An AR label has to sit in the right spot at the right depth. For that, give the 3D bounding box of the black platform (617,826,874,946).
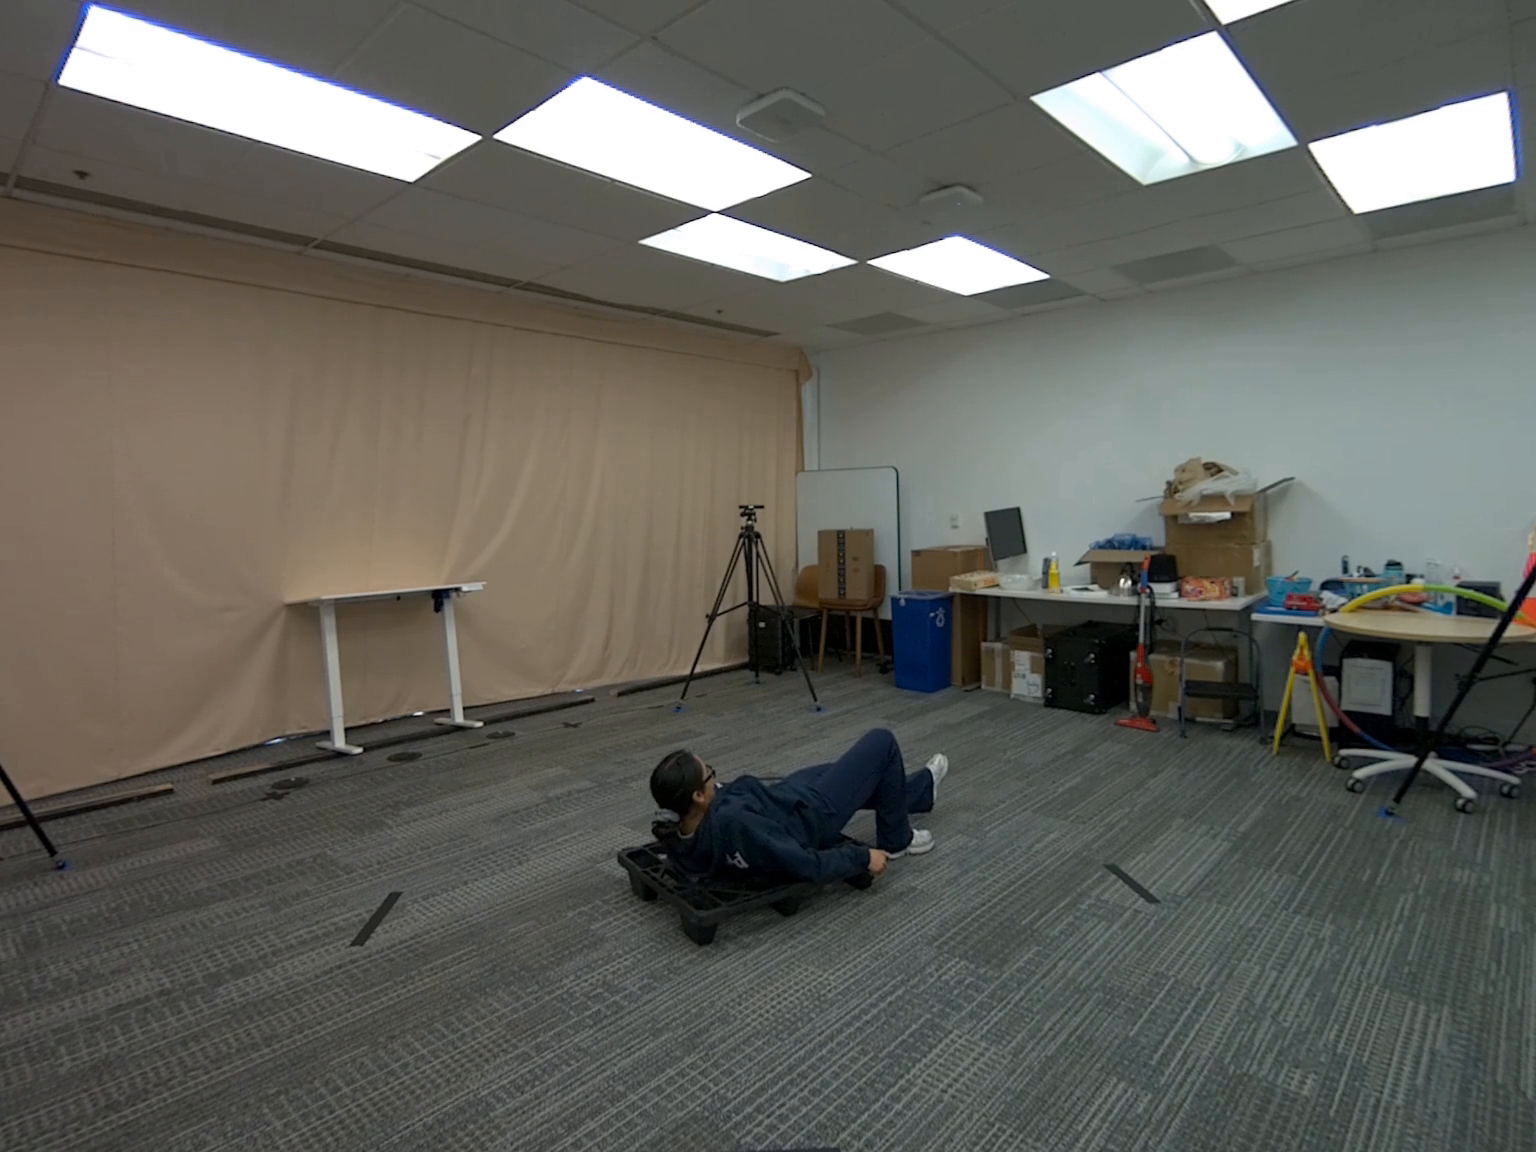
[{"bbox_3d":[-0.067,1.070,3.051,0.783,0.143,0.624,-4,5,-33],"label":"black platform"}]
